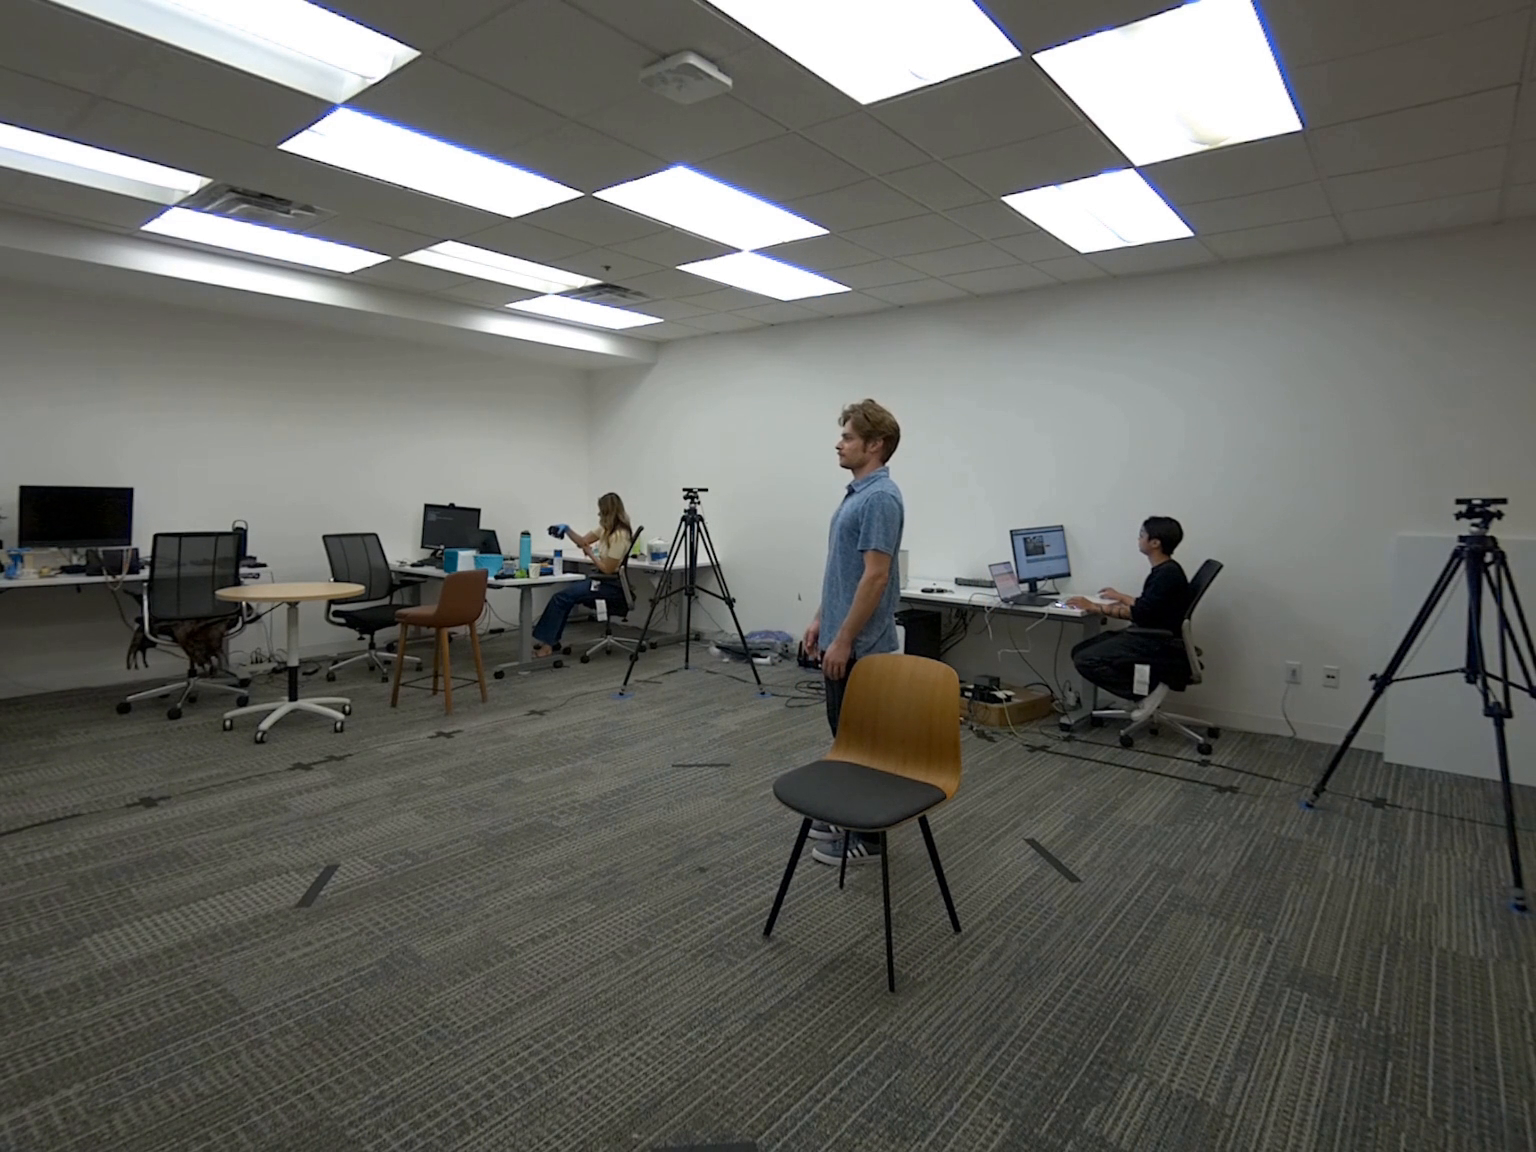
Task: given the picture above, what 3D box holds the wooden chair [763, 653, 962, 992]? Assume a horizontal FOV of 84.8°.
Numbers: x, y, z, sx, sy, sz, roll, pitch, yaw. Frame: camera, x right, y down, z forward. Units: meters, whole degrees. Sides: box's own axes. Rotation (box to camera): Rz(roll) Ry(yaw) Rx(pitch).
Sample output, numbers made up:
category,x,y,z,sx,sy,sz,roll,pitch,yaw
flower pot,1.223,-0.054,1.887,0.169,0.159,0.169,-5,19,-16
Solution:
category,x,y,z,sx,sy,sz,roll,pitch,yaw
wooden chair,0.299,0.696,2.650,0.494,0.878,0.506,5,0,38
